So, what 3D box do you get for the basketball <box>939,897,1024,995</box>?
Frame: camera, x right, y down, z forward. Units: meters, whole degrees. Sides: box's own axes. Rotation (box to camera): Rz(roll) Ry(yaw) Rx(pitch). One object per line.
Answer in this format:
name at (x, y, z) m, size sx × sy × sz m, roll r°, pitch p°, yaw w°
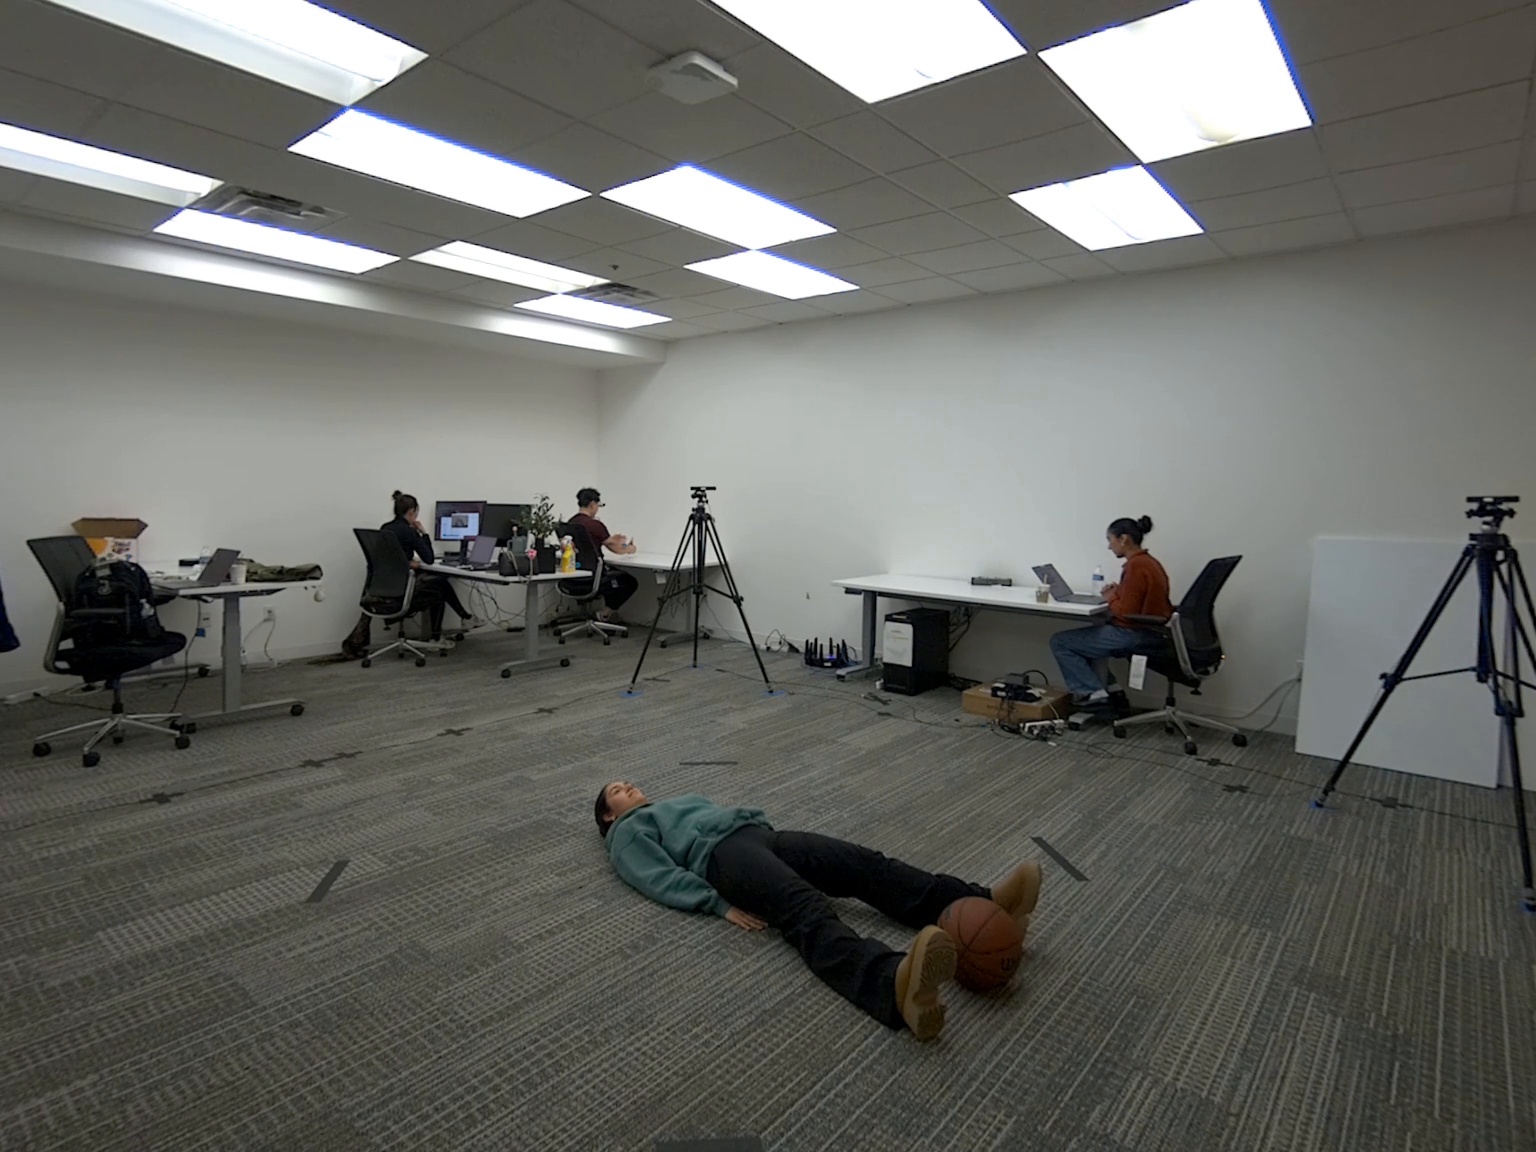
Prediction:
basketball at (0.589, 1.034, 2.414) m, size 0.236 × 0.235 × 0.237 m, roll 0°, pitch 4°, yaw -2°
